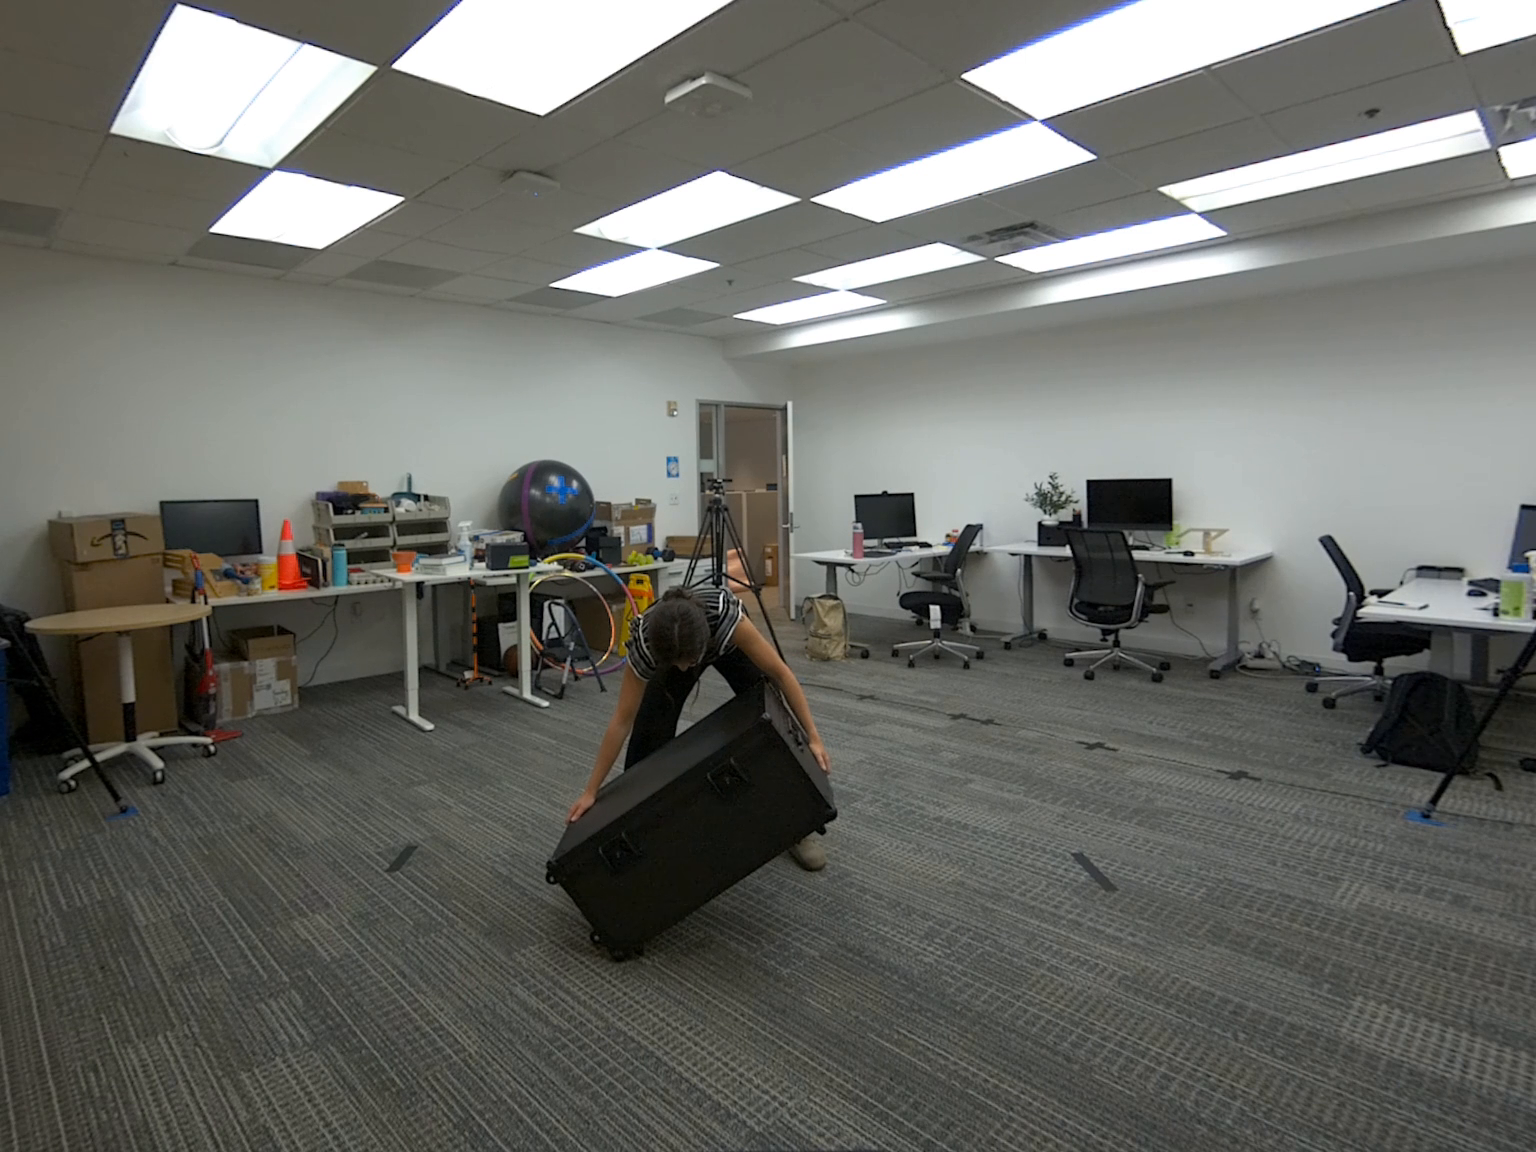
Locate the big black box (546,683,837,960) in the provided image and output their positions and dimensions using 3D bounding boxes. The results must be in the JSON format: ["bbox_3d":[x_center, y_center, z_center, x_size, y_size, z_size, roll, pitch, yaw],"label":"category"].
[{"bbox_3d":[-0.239,0.765,2.683,0.862,0.395,0.523,-34,4,4],"label":"big black box"}]
